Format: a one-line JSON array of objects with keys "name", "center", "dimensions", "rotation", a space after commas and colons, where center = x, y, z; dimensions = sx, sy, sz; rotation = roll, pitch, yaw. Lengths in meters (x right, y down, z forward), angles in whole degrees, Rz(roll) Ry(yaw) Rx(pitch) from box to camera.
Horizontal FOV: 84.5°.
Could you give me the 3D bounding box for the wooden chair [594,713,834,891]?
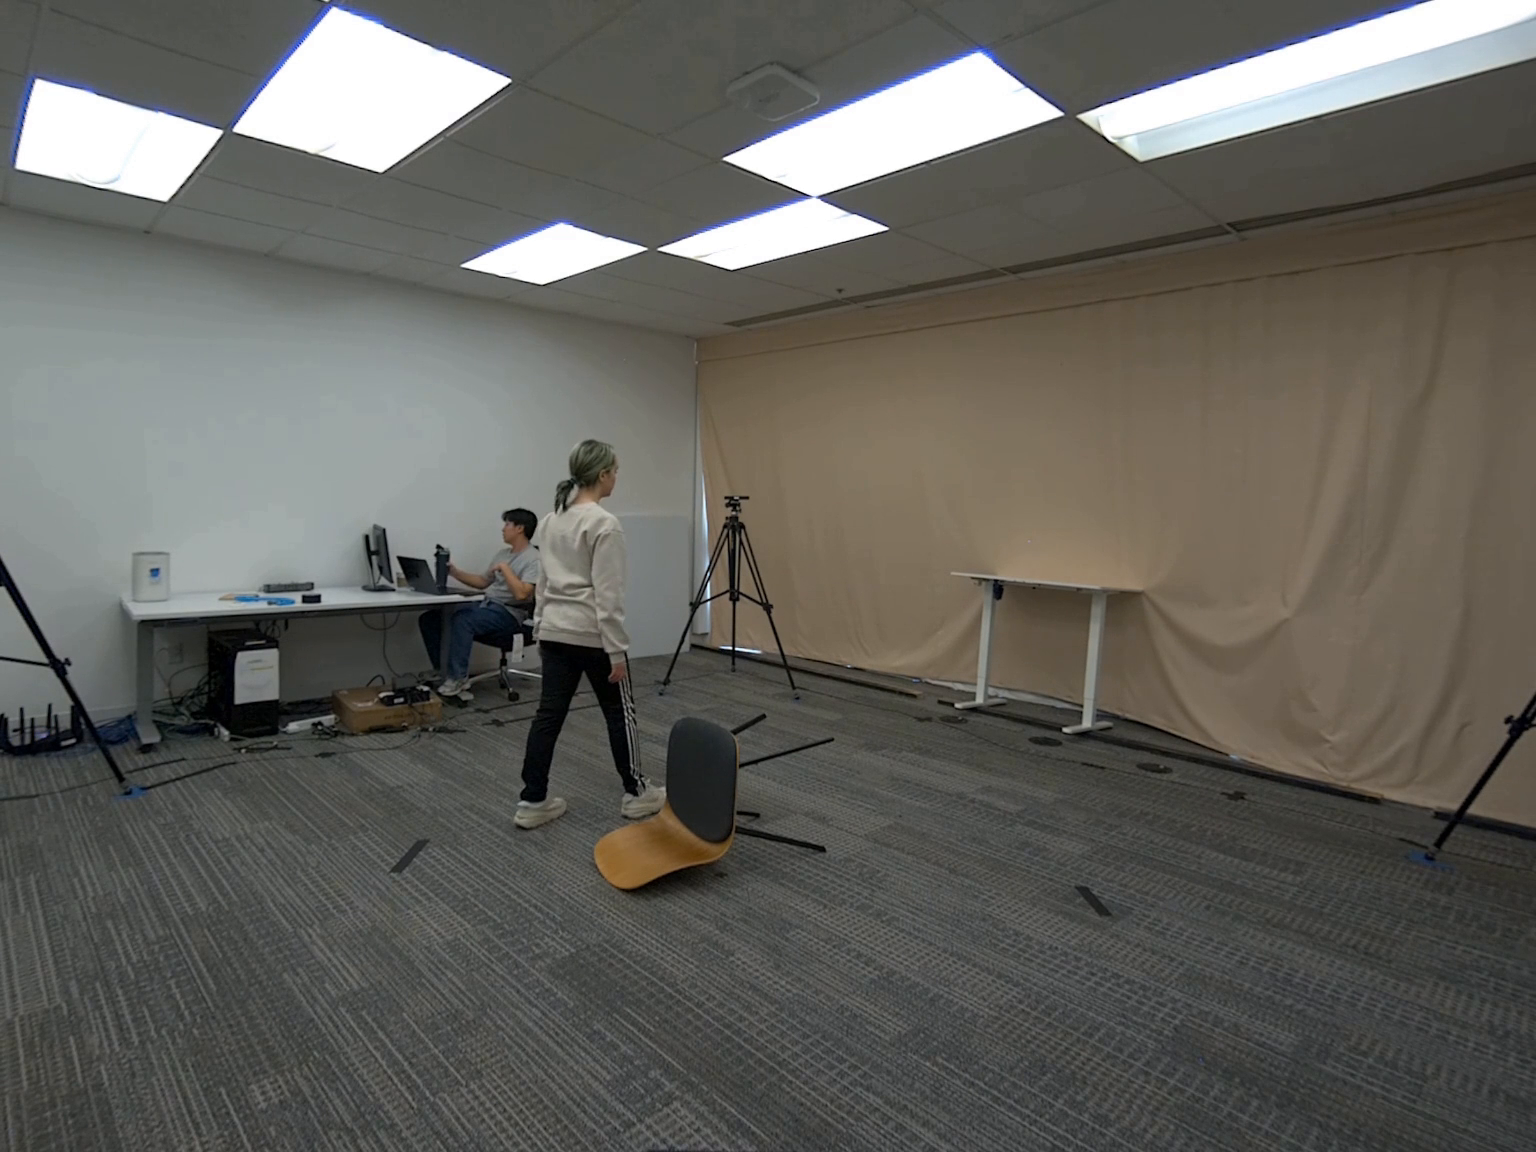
[{"name": "wooden chair", "center": [-0.235, 0.828, 3.263], "dimensions": [0.859, 0.521, 0.490], "rotation": [-4, 6, -36]}]
